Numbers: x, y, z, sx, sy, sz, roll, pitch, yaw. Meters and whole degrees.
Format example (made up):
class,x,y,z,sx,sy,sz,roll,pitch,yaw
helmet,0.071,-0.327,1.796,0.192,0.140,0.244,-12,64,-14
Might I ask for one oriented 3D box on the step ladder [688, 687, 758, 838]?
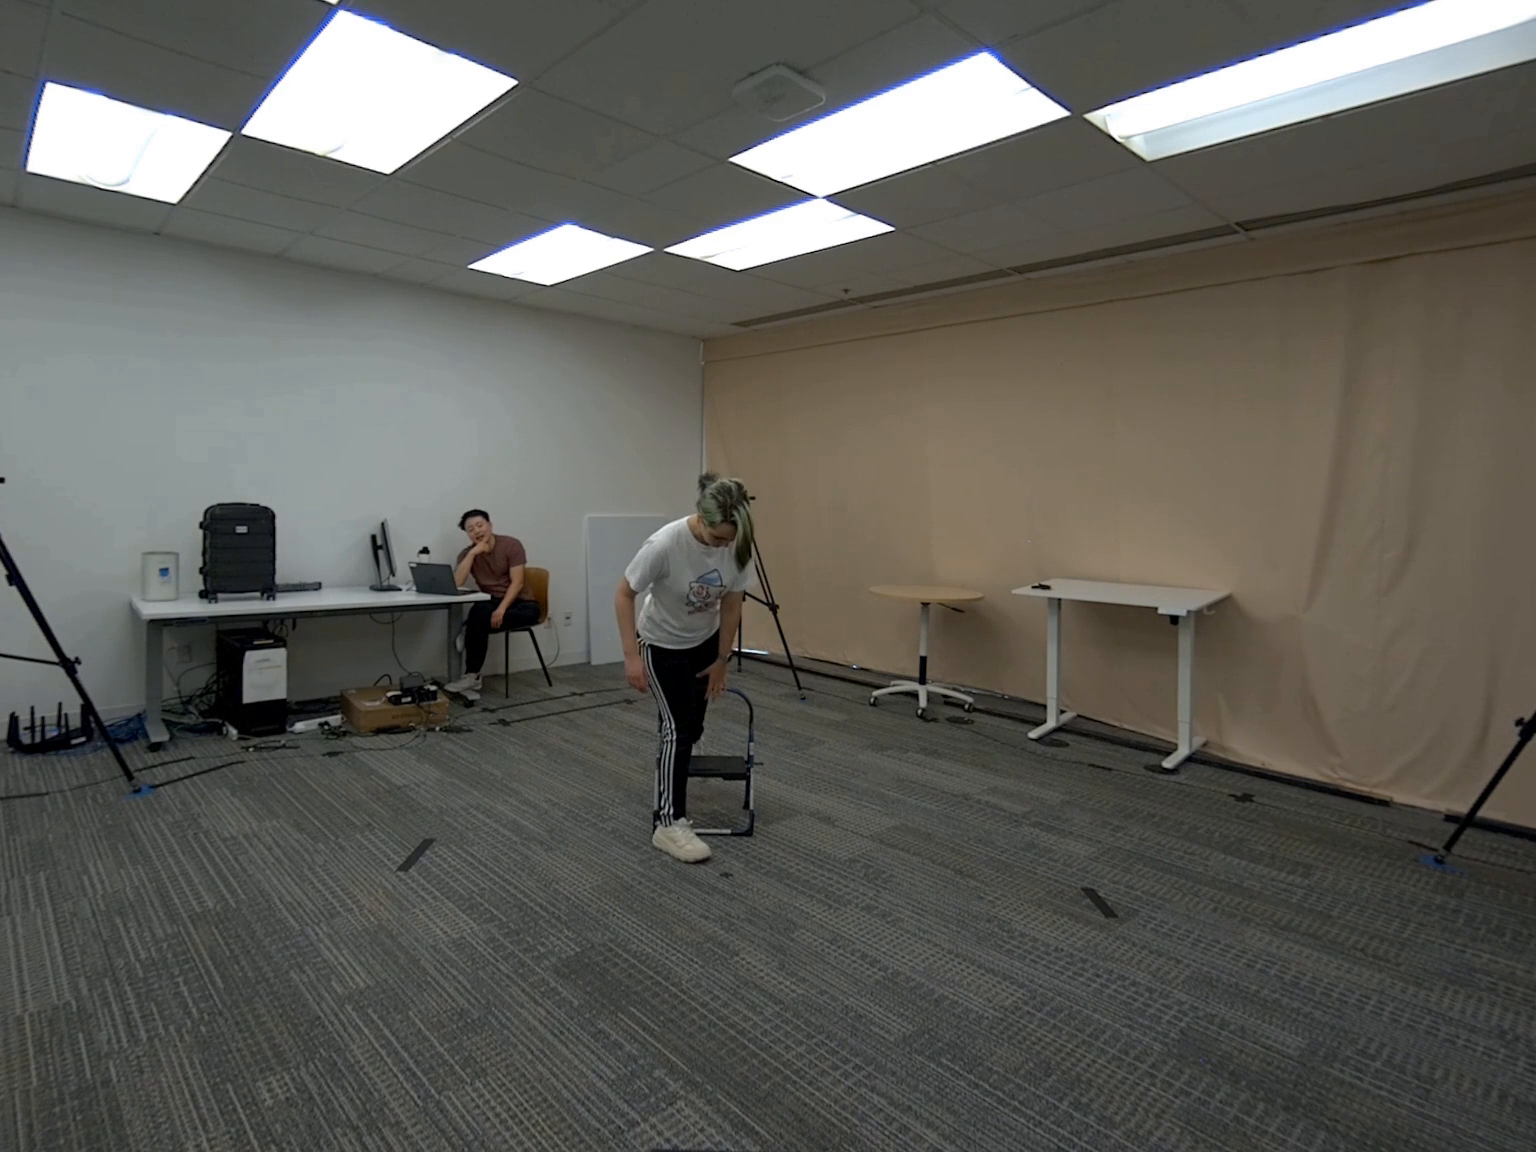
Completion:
class,x,y,z,sx,sy,sz,roll,pitch,yaw
step ladder,-0.278,0.758,3.620,0.429,0.605,0.351,1,3,-4
